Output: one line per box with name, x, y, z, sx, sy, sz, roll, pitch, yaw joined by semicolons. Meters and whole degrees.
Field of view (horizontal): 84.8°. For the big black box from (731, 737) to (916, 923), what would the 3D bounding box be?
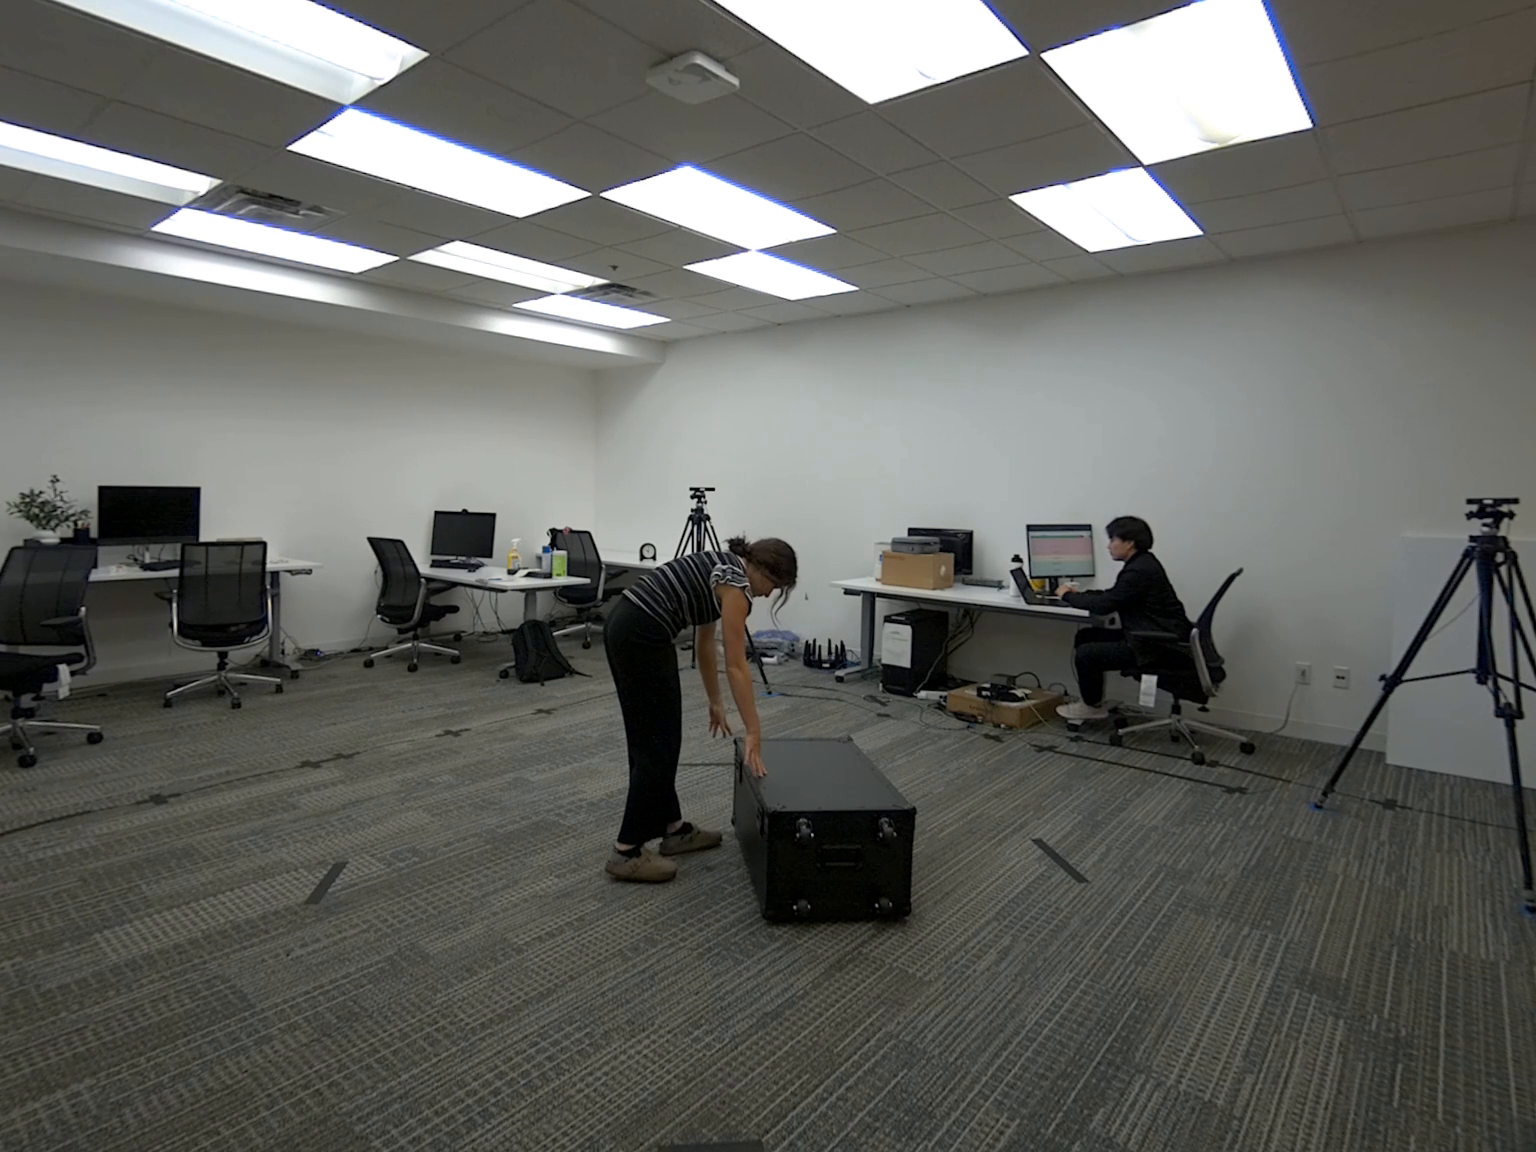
big black box;0.160;0.885;3.063;0.516;0.395;0.873;0;5;-10
